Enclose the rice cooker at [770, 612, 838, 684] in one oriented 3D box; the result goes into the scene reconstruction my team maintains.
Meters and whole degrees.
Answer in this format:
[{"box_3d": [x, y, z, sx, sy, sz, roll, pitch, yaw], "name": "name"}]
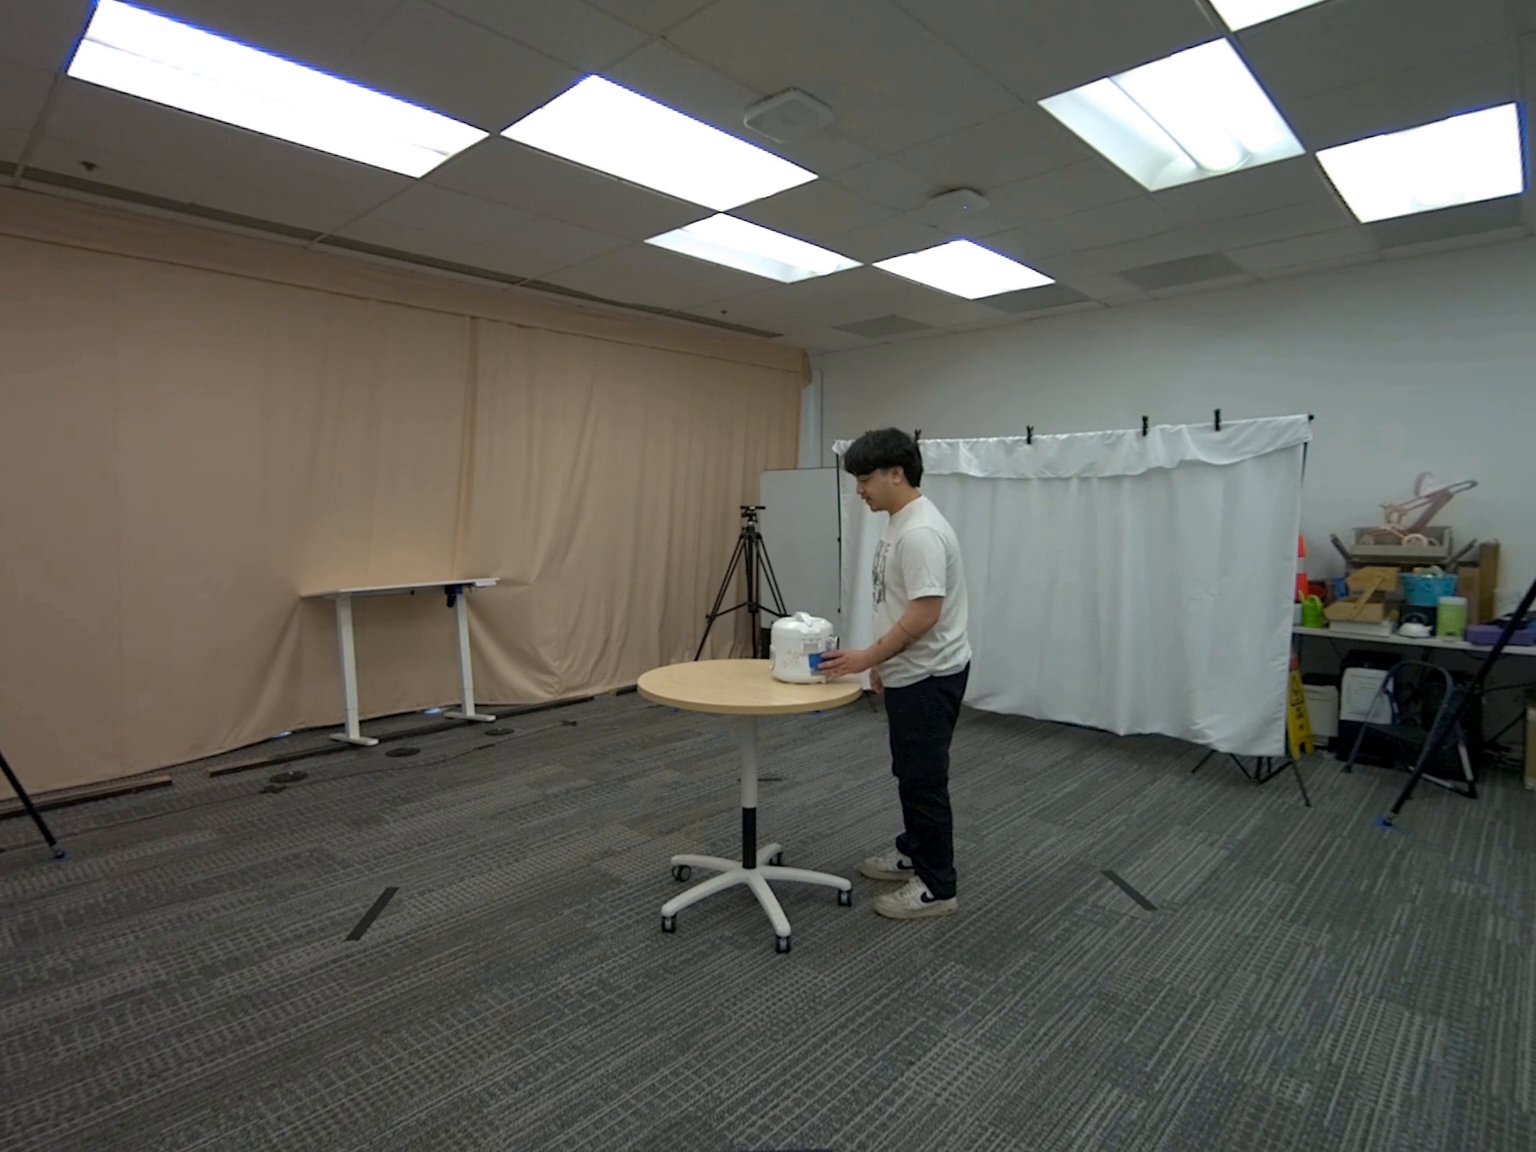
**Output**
[{"box_3d": [0.121, 0.242, 2.890, 0.215, 0.232, 0.223, 0, 4, -10], "name": "rice cooker"}]
